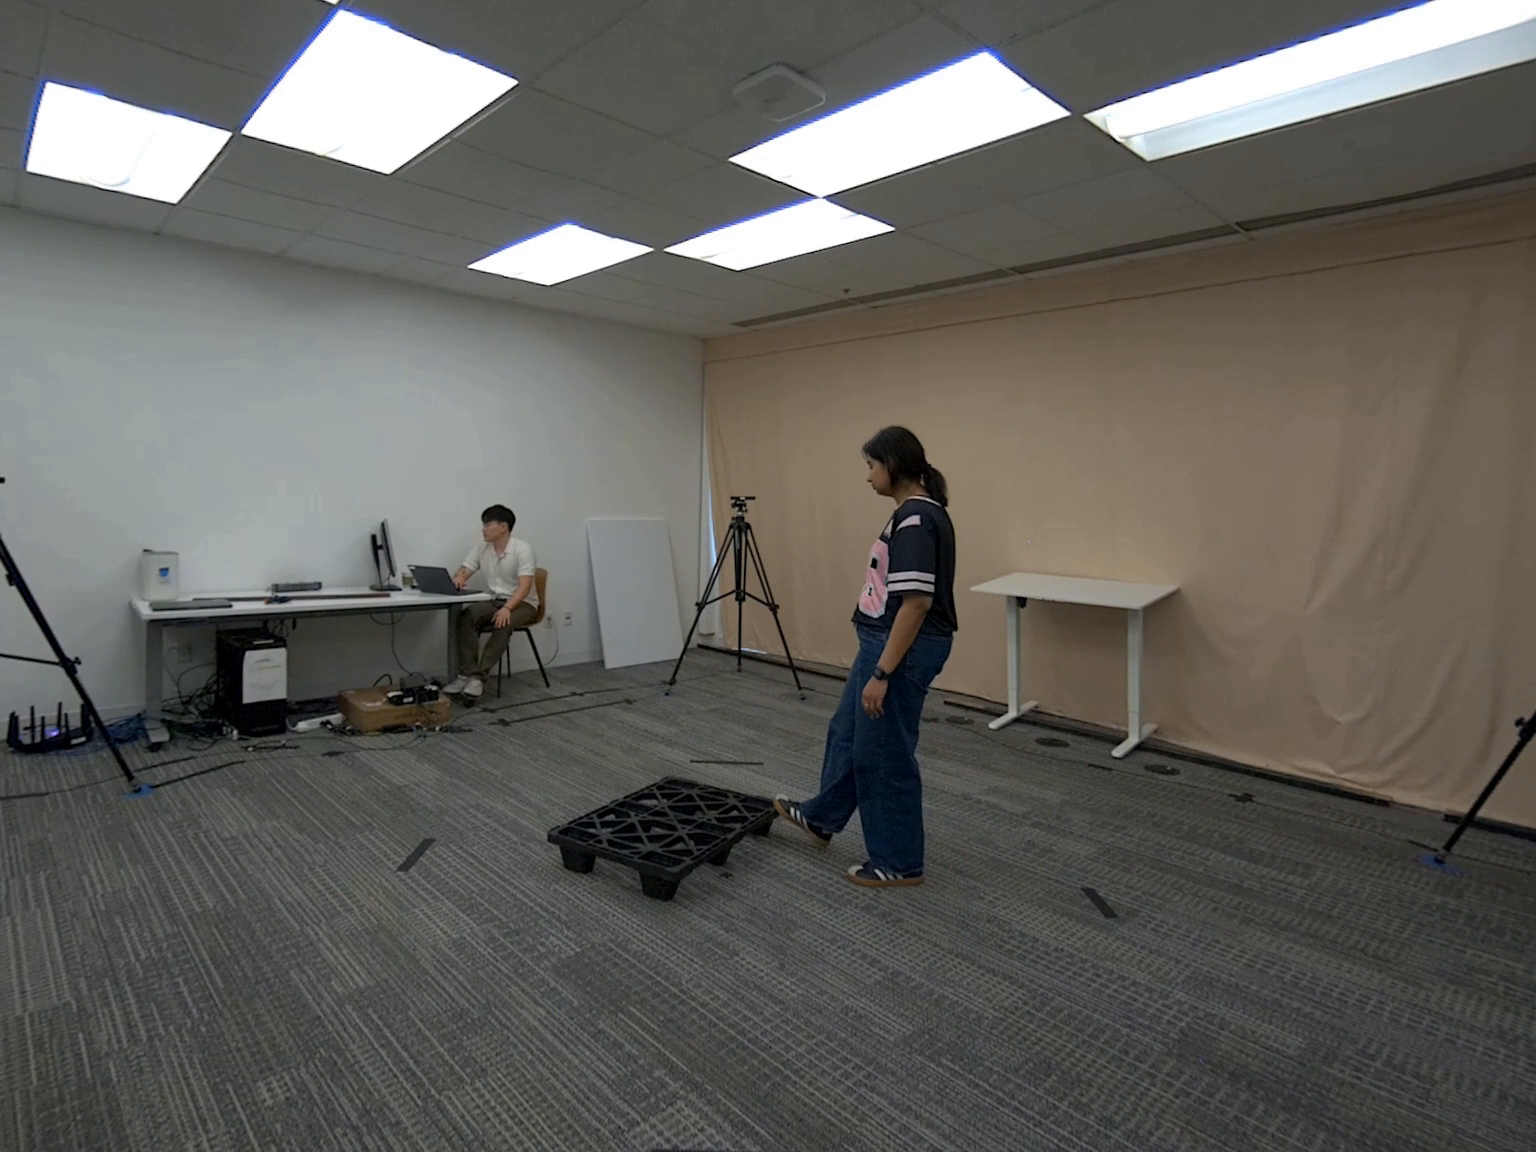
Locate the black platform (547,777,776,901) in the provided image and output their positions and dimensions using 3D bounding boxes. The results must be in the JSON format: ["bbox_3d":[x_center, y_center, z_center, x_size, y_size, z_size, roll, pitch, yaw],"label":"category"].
[{"bbox_3d":[-0.378,1.011,3.315,0.618,0.143,0.790,5,6,30],"label":"black platform"}]
